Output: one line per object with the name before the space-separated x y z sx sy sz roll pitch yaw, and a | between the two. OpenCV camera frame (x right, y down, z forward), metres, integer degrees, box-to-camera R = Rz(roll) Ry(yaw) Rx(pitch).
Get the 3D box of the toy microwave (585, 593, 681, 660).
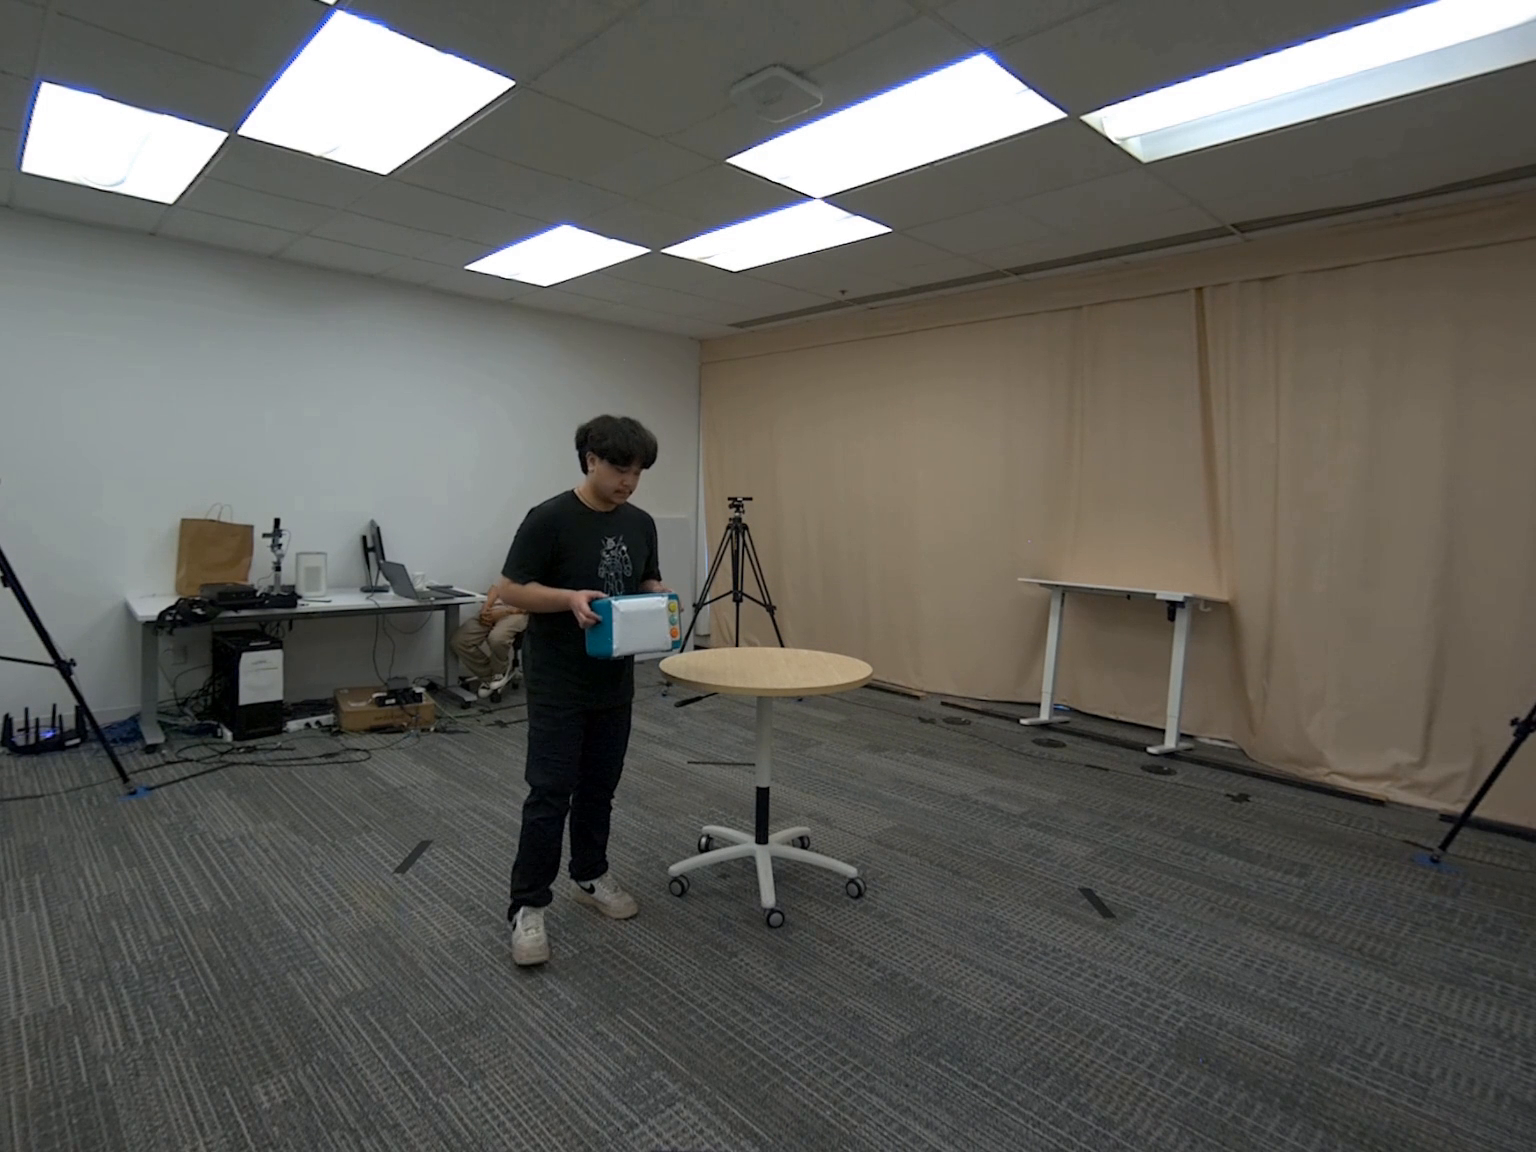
toy microwave | -0.416 0.146 2.577 0.280 0.184 0.155 -3 -2 -44
